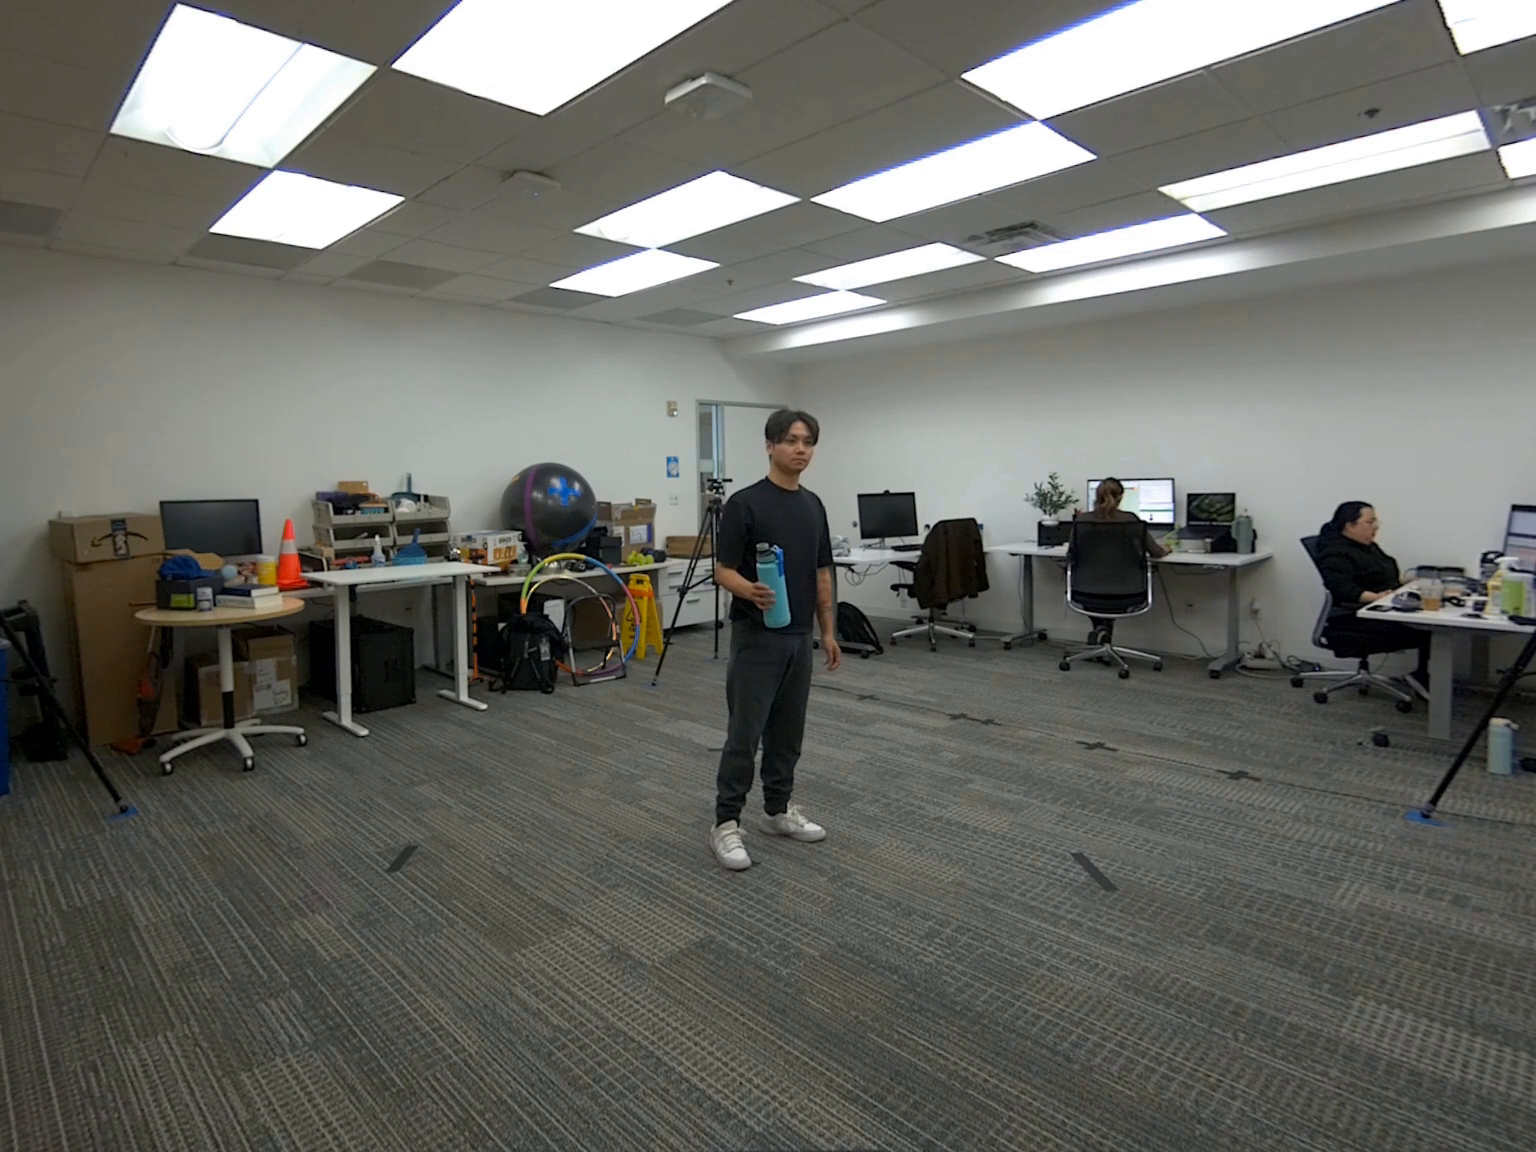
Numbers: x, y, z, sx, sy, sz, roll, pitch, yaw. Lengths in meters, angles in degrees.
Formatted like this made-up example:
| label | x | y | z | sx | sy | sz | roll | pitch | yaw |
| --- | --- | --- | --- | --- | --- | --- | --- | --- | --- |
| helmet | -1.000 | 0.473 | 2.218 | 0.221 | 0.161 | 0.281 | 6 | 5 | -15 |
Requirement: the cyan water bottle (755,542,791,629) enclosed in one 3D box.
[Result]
| label | x | y | z | sx | sy | sz | roll | pitch | yaw |
| --- | --- | --- | --- | --- | --- | --- | --- | --- | --- |
| cyan water bottle | 0.021 | 0.030 | 2.903 | 0.092 | 0.279 | 0.094 | -5 | 17 | 0 |
